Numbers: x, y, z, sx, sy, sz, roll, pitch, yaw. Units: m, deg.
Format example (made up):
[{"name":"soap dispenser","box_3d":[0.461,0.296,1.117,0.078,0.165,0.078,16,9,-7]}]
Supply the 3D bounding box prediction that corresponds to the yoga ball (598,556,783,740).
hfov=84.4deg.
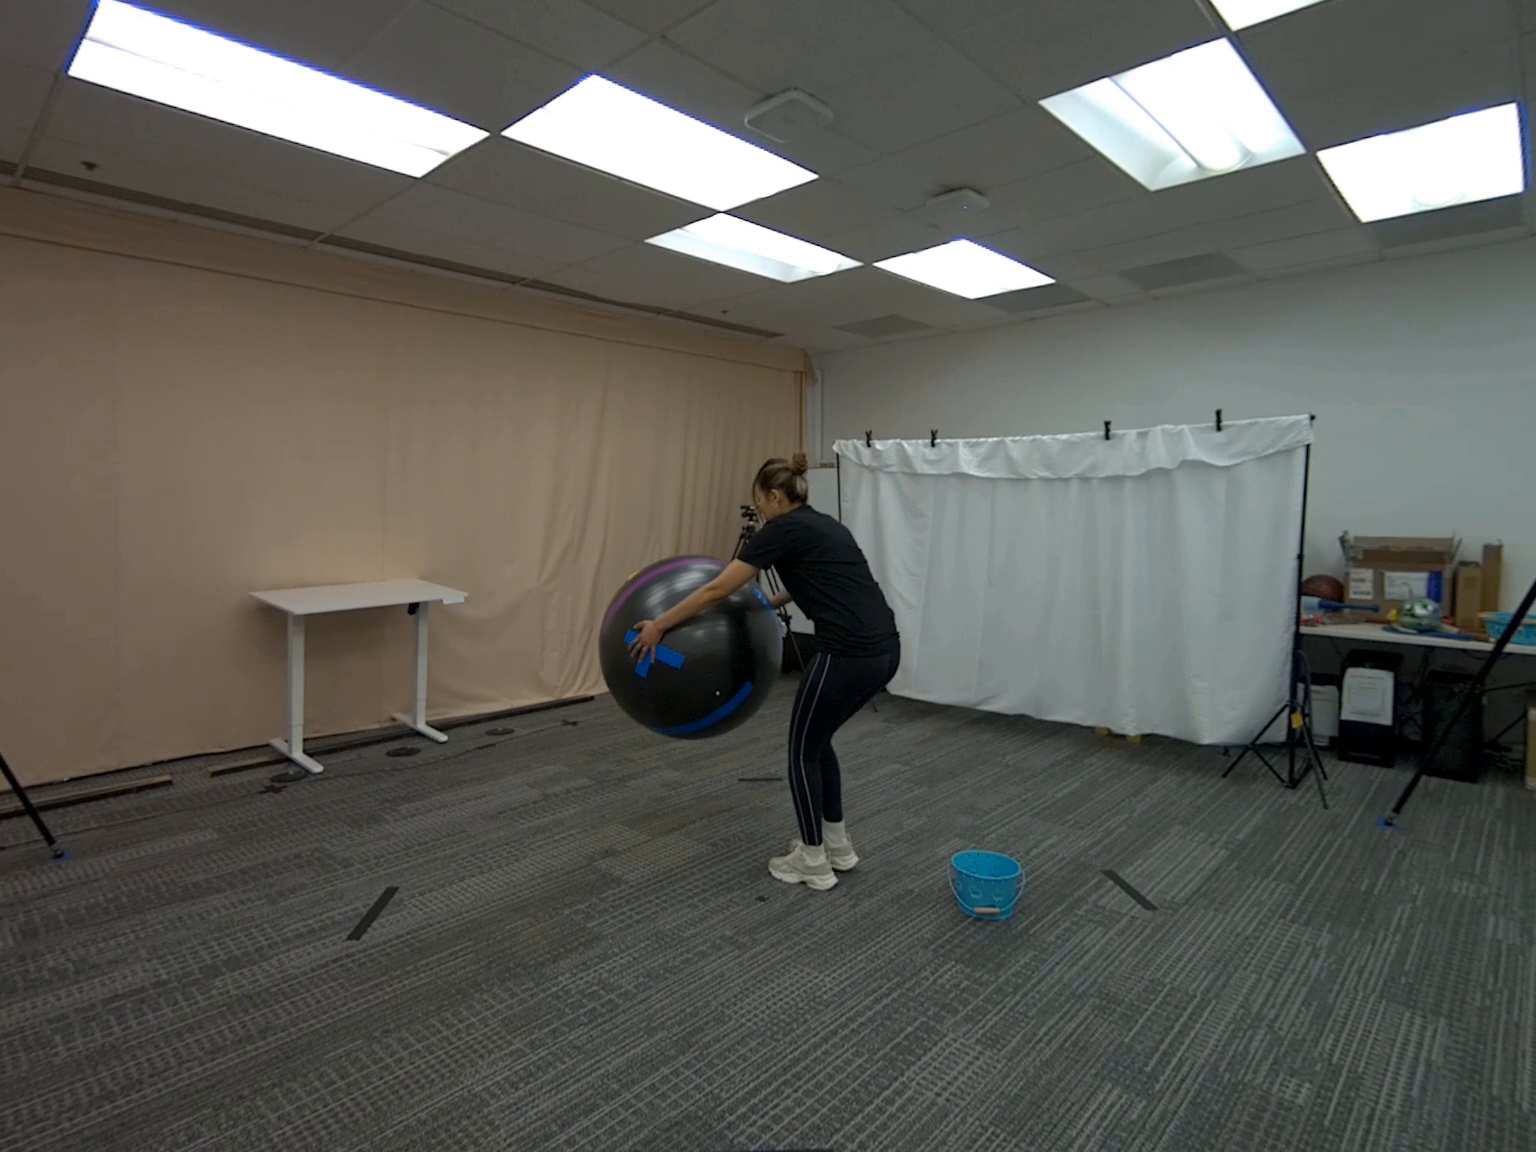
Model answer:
[{"name":"yoga ball","box_3d":[-0.316,0.296,3.488,0.757,0.756,0.761,0,4,-2]}]
